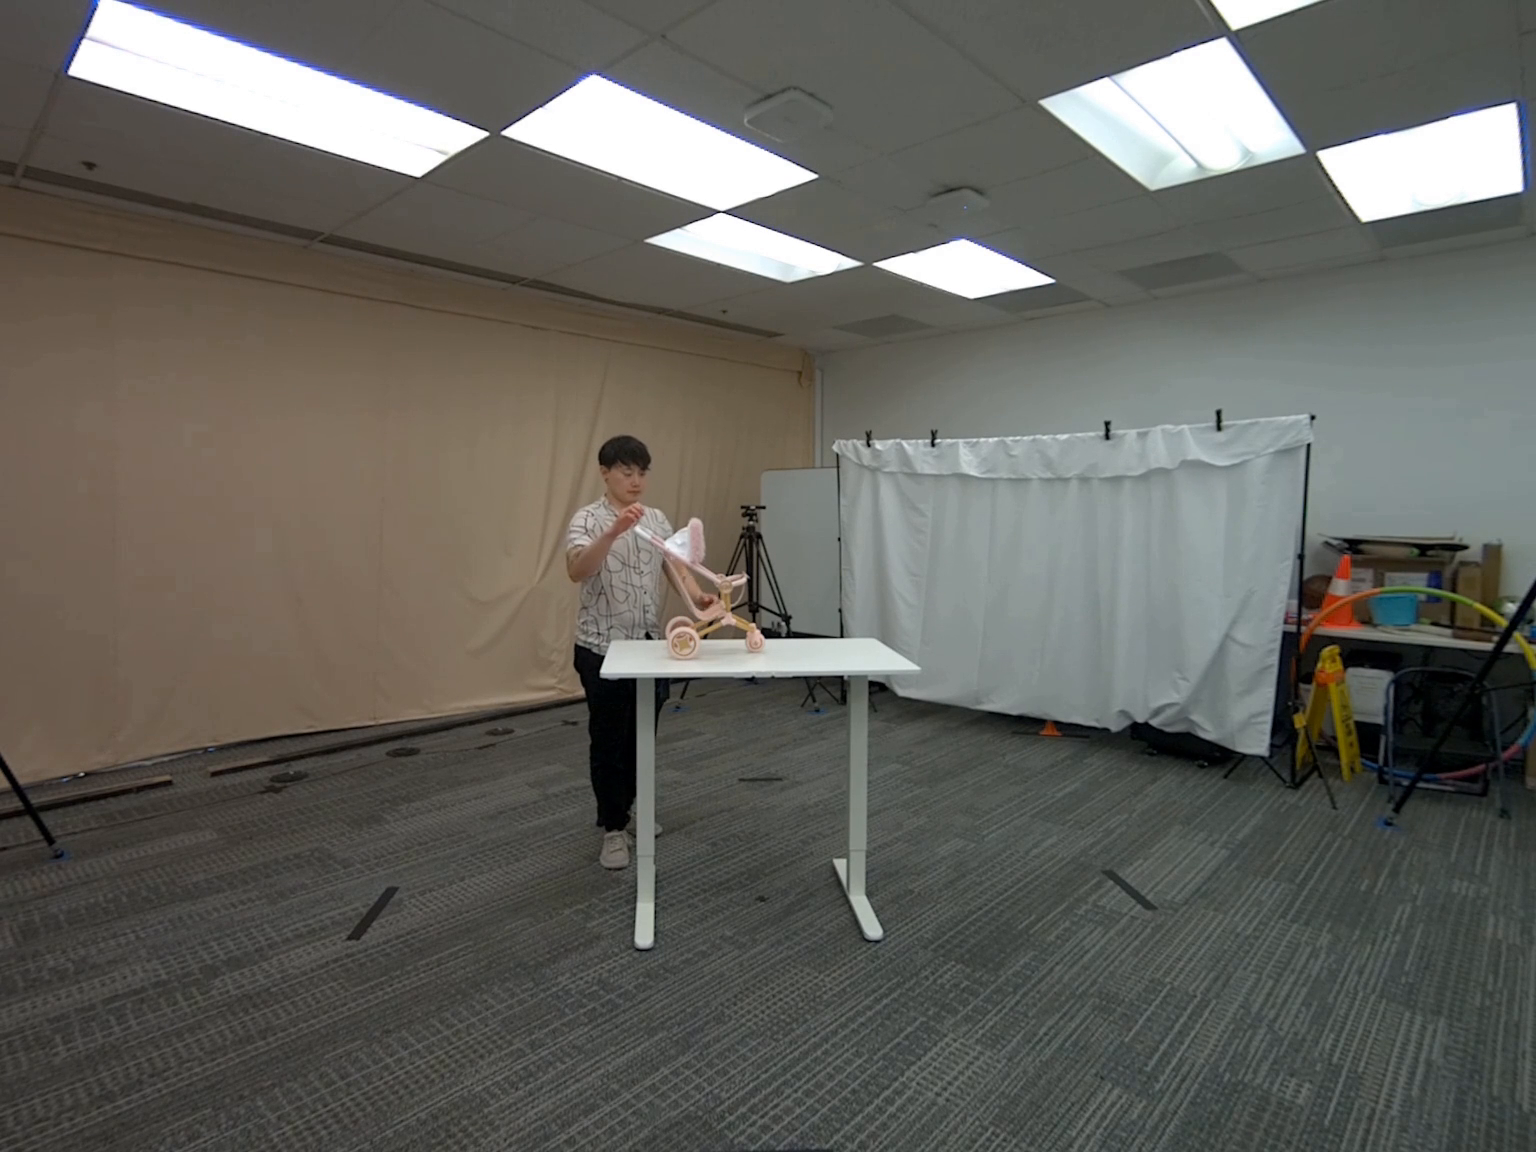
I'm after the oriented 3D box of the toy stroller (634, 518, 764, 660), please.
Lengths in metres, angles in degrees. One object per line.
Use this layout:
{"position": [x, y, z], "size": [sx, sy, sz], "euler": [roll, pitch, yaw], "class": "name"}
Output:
{"position": [-0.225, 0.044, 2.899], "size": [0.342, 0.533, 0.282], "euler": [-15, 4, 0], "class": "toy stroller"}
